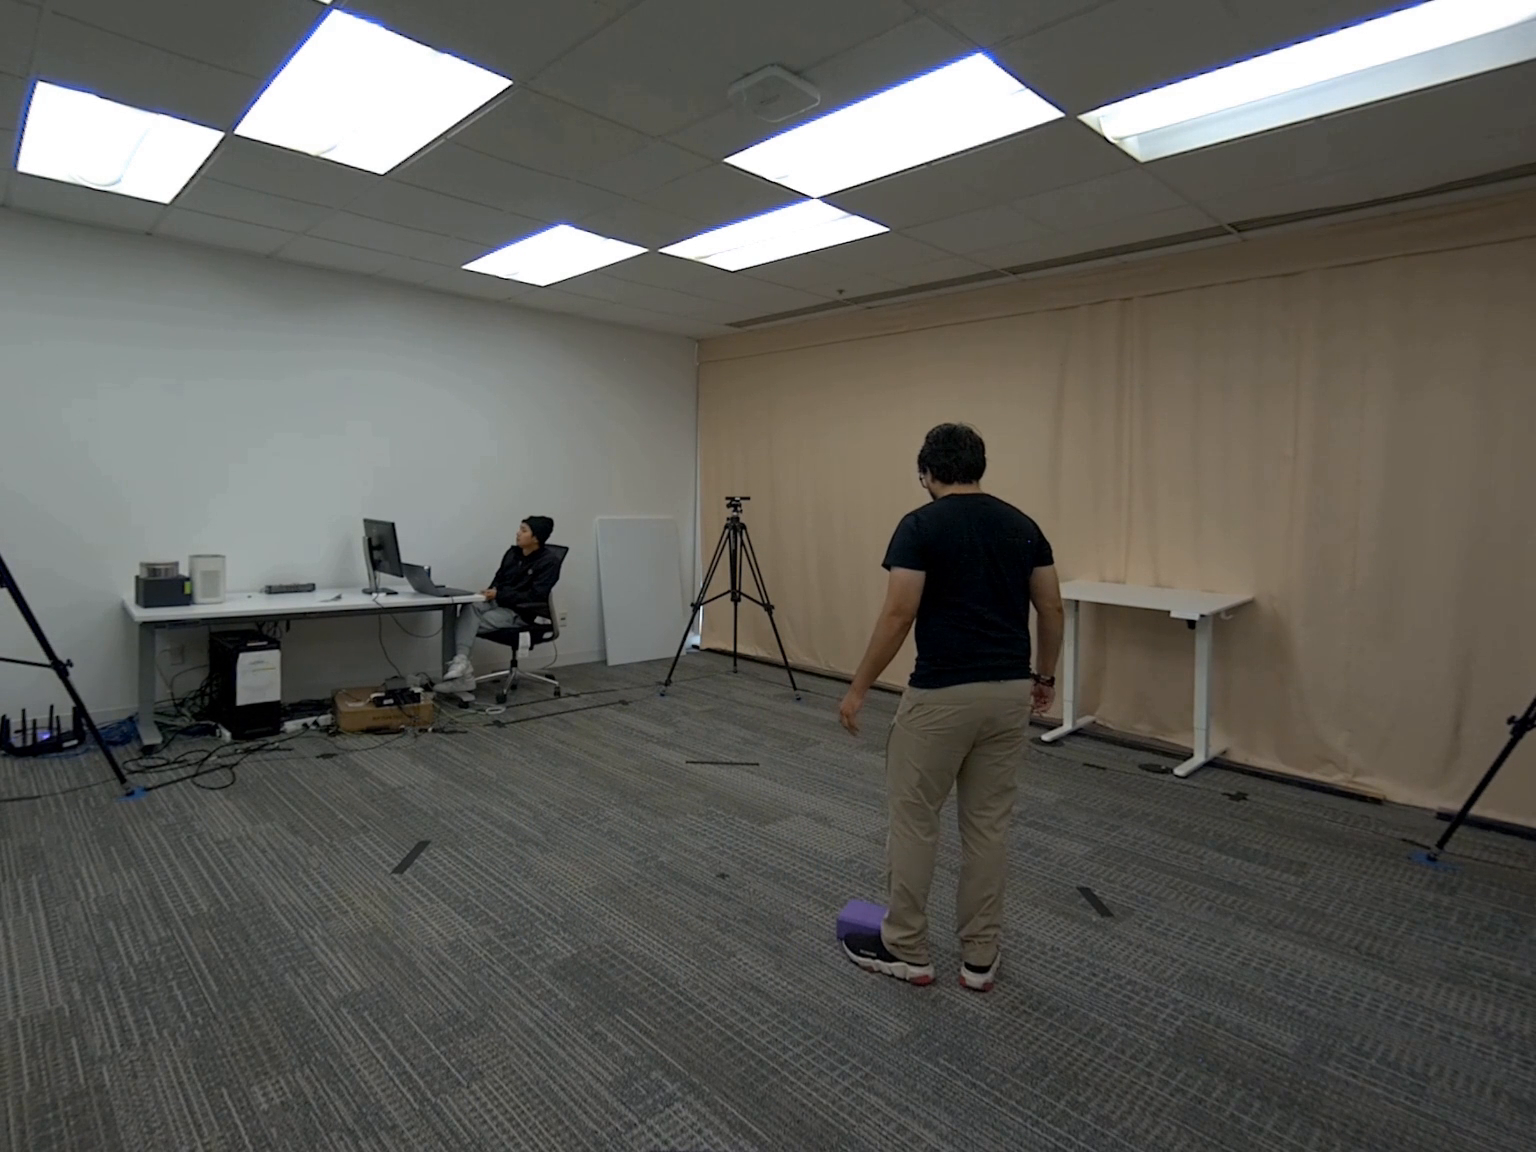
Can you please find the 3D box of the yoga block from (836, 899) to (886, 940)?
[{"bbox_3d":[0.340,1.118,2.674,0.234,0.076,0.146,3,5,26],"label":"yoga block"}]
